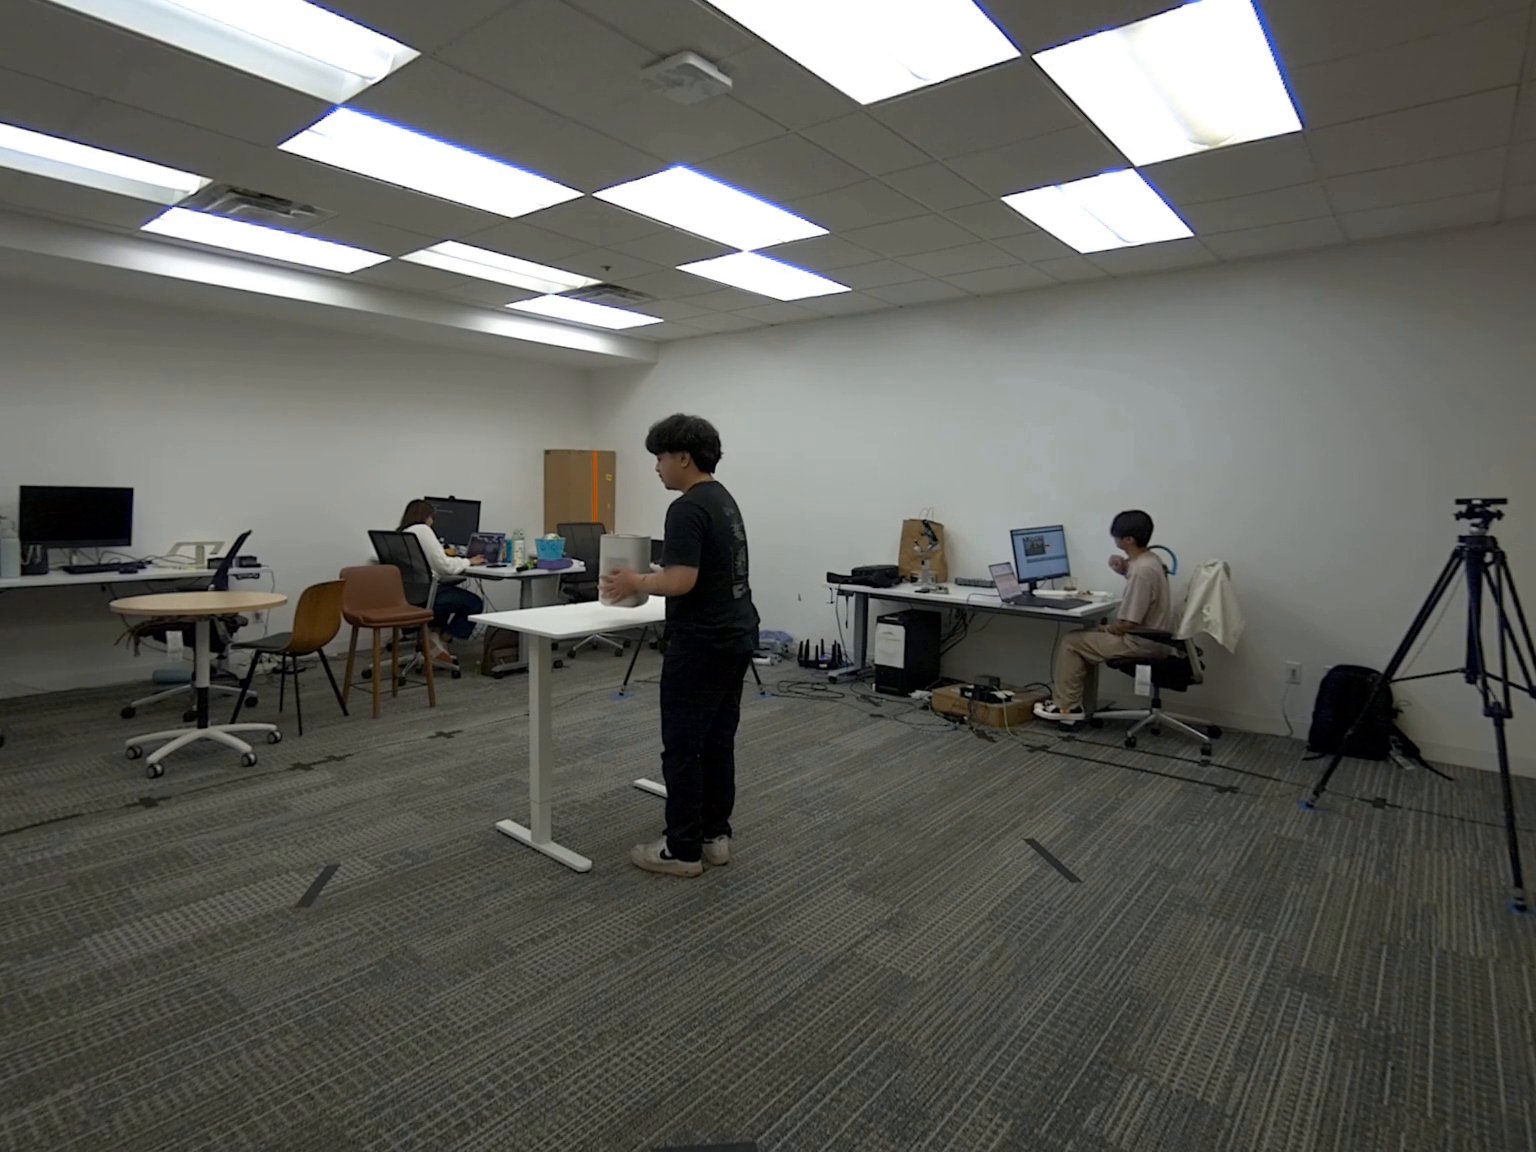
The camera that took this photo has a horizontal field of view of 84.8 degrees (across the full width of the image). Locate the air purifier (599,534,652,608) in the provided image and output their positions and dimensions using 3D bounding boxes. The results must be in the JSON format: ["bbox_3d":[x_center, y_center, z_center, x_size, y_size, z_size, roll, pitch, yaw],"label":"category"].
[{"bbox_3d":[-0.555,-0.025,3.217,0.174,0.264,0.169,3,4,10],"label":"air purifier"}]
